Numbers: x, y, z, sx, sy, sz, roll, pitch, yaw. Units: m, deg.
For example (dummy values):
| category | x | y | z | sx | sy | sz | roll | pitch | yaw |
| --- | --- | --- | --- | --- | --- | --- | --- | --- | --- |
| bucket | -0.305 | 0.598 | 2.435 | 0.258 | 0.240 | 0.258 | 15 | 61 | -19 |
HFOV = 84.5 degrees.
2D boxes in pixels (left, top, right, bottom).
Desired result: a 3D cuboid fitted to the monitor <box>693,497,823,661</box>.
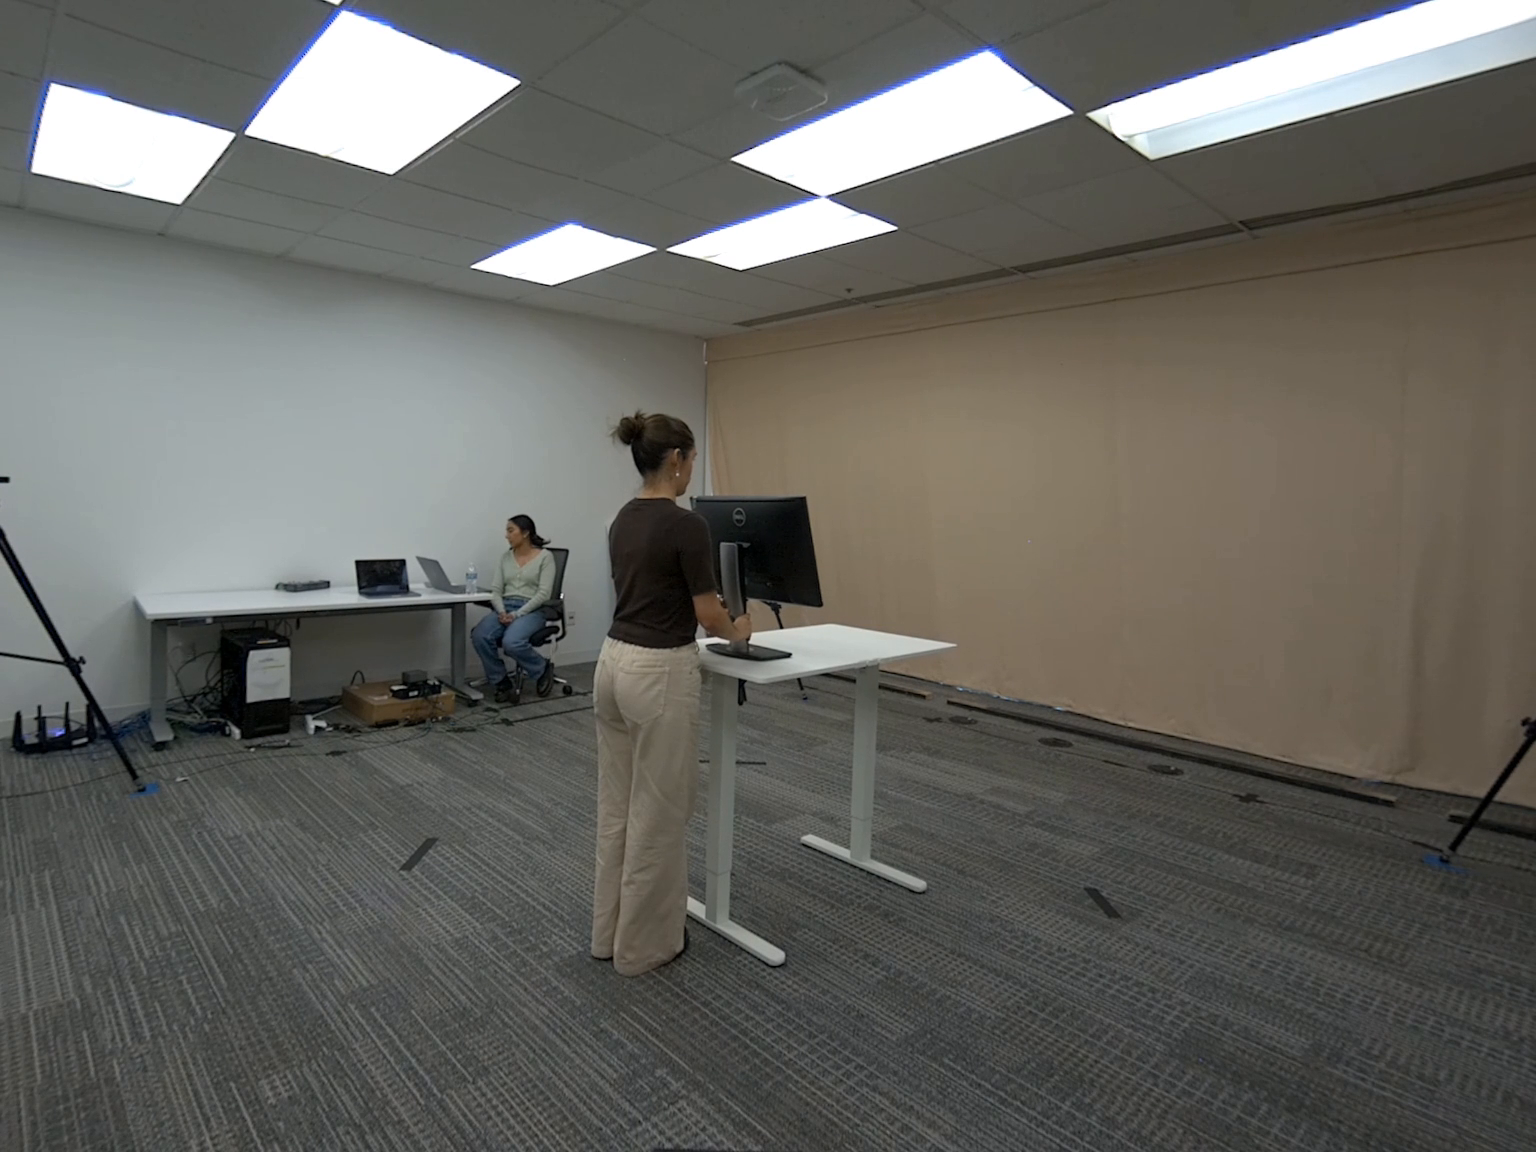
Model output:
| category | x | y | z | sx | sy | sz | roll | pitch | yaw |
| --- | --- | --- | --- | --- | --- | --- | --- | --- | --- |
| monitor | -0.070 | -0.001 | 2.727 | 0.170 | 0.516 | 0.543 | 3 | 0 | -44 |
